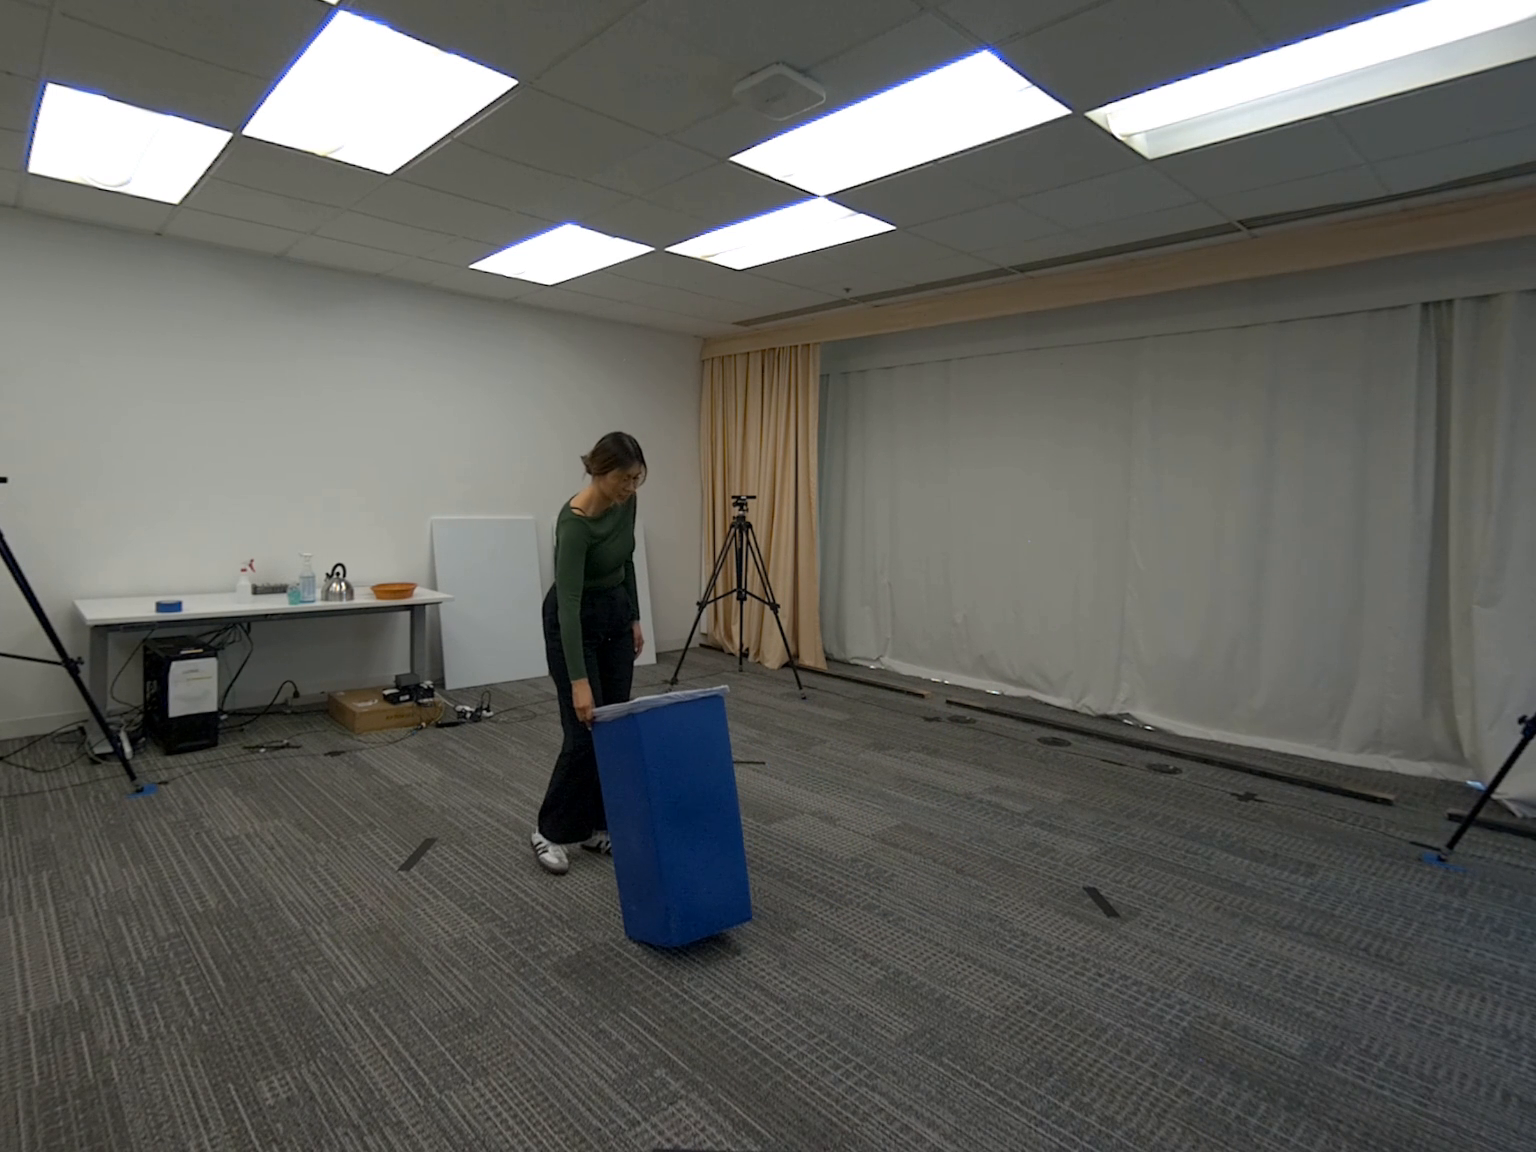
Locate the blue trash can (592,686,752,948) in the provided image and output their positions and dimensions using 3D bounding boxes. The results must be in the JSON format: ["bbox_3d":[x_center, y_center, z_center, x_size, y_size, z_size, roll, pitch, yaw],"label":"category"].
[{"bbox_3d":[-0.305,0.749,2.688,0.370,0.721,0.379,-2,-14,-38],"label":"blue trash can"}]
